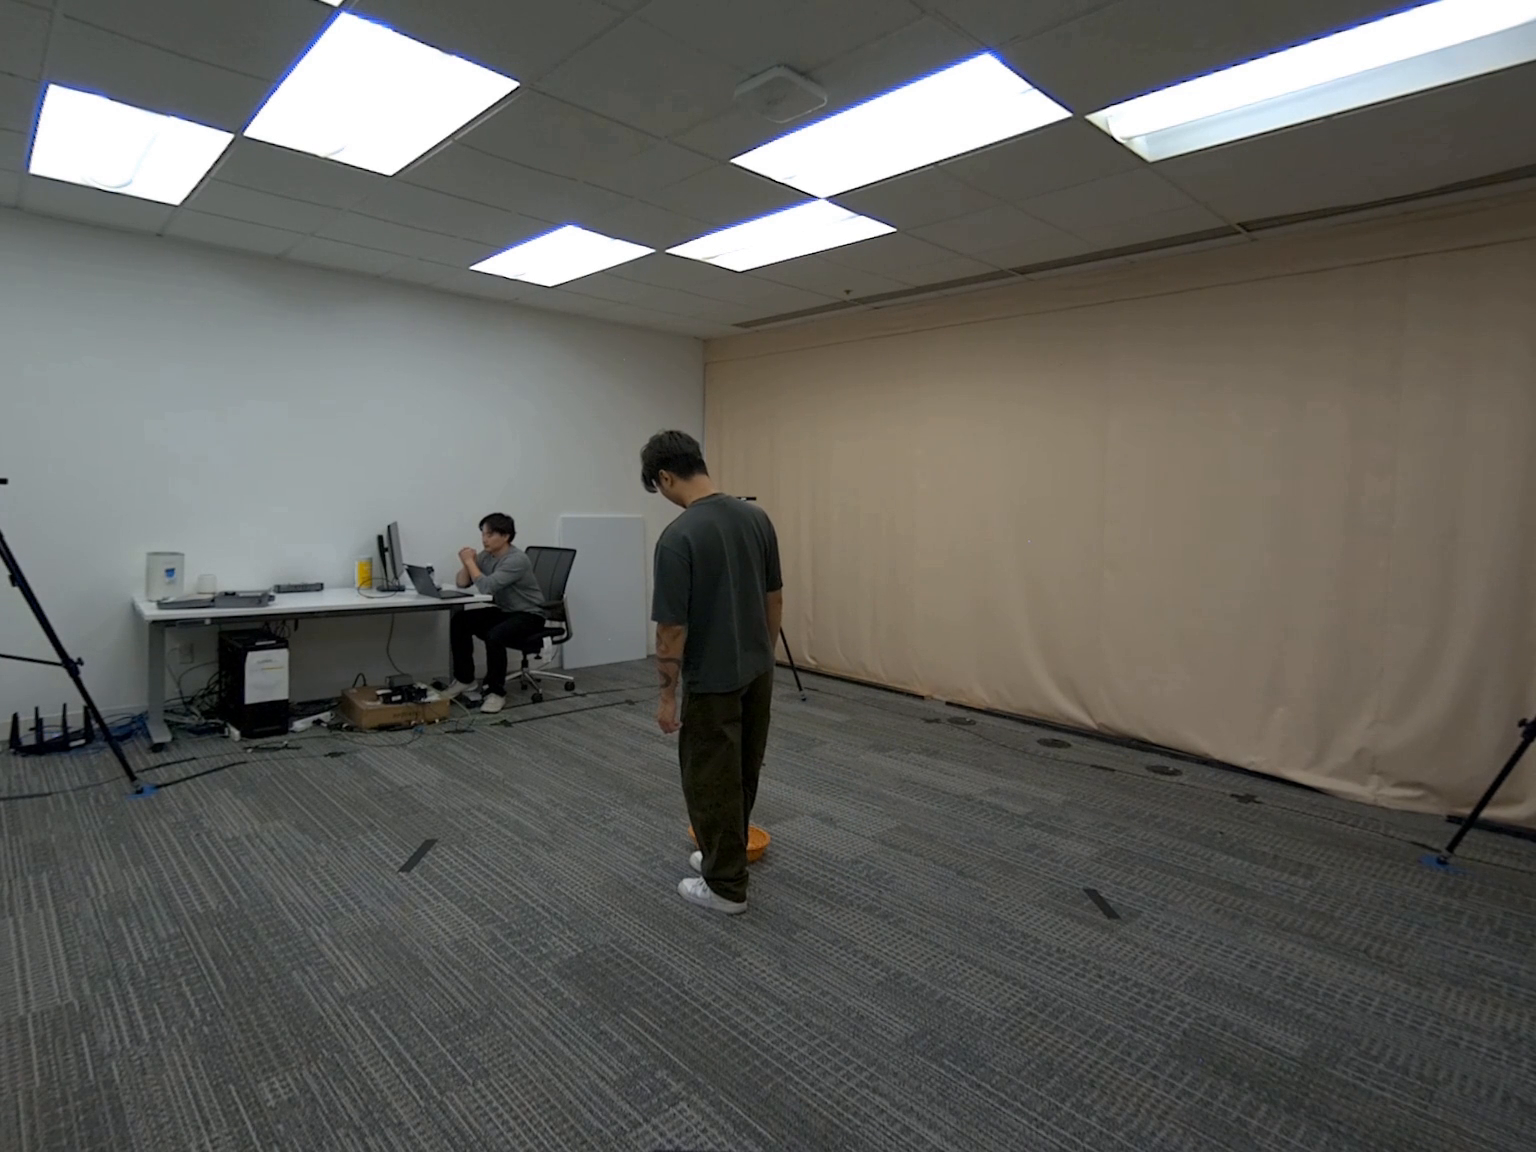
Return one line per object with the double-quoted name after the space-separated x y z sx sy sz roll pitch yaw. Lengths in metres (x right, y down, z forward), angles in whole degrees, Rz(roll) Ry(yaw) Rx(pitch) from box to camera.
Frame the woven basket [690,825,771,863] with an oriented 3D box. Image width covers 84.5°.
-0.161 1.050 3.331 0.359 0.073 0.247 6 7 43 "woven basket"
